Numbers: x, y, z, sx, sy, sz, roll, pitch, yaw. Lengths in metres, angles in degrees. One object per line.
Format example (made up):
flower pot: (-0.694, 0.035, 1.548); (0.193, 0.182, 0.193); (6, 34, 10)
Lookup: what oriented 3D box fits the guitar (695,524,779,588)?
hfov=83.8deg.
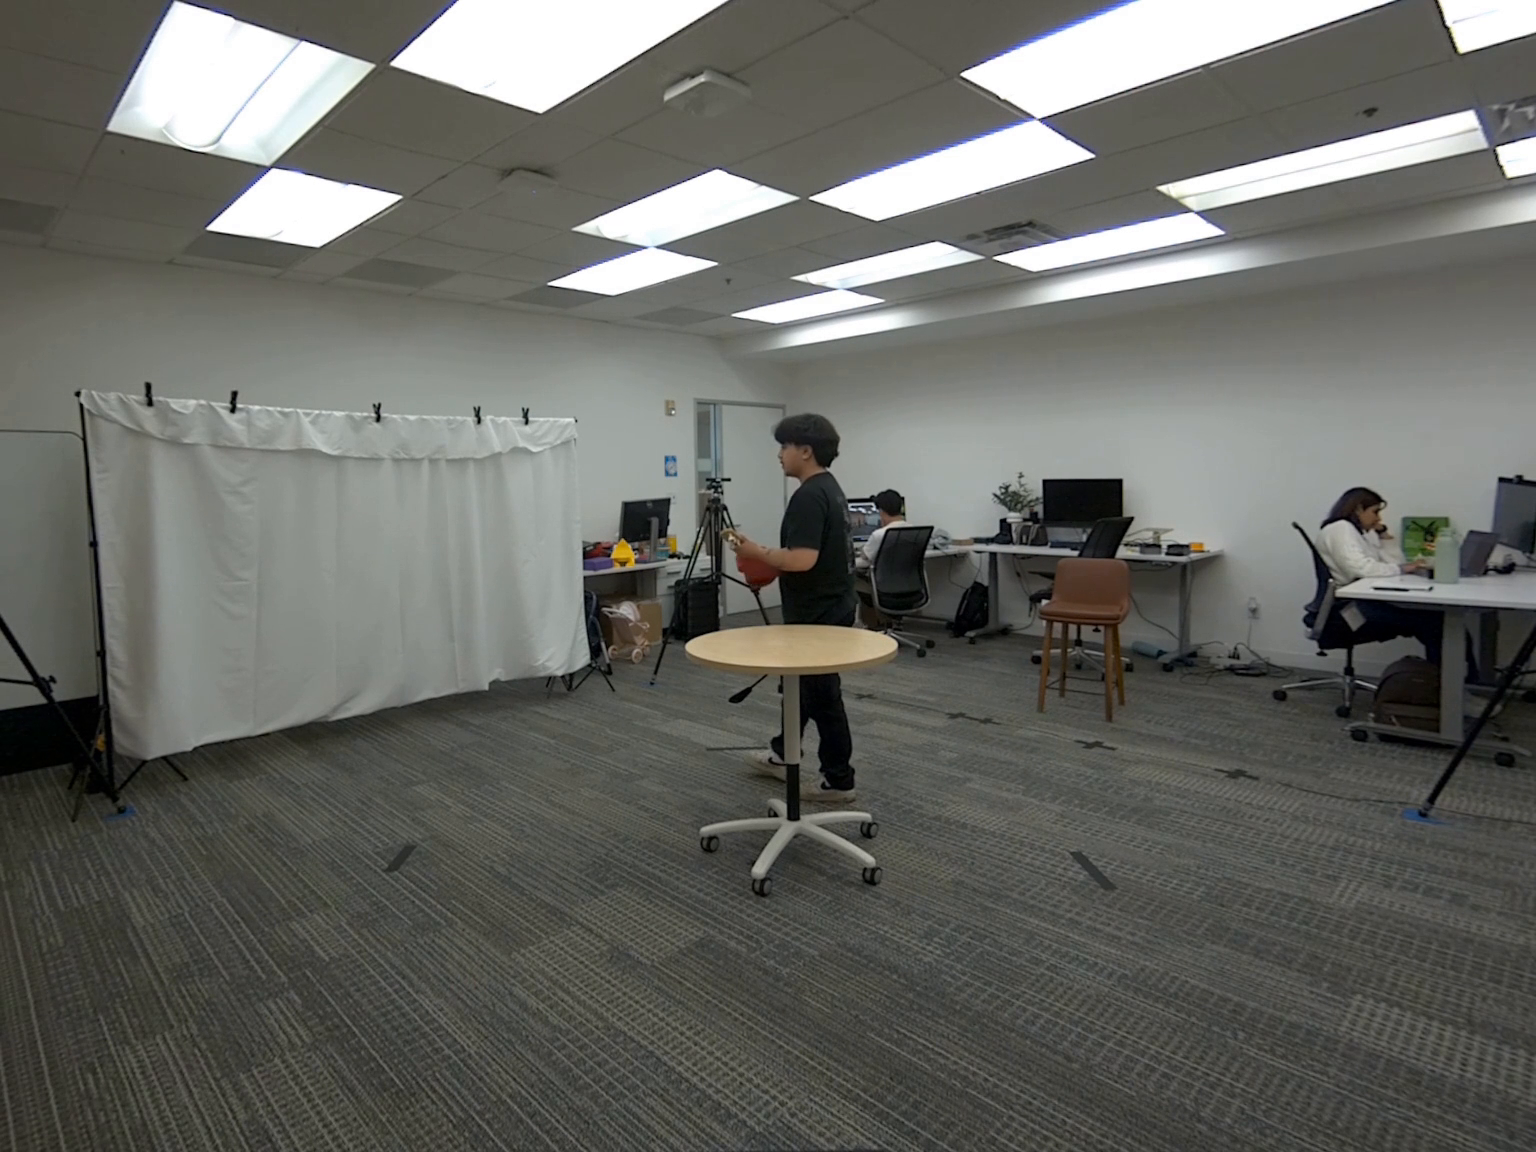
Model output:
guitar: (-0.092, -0.079, 3.701); (0.195, 0.072, 0.480); (-25, -26, 23)
